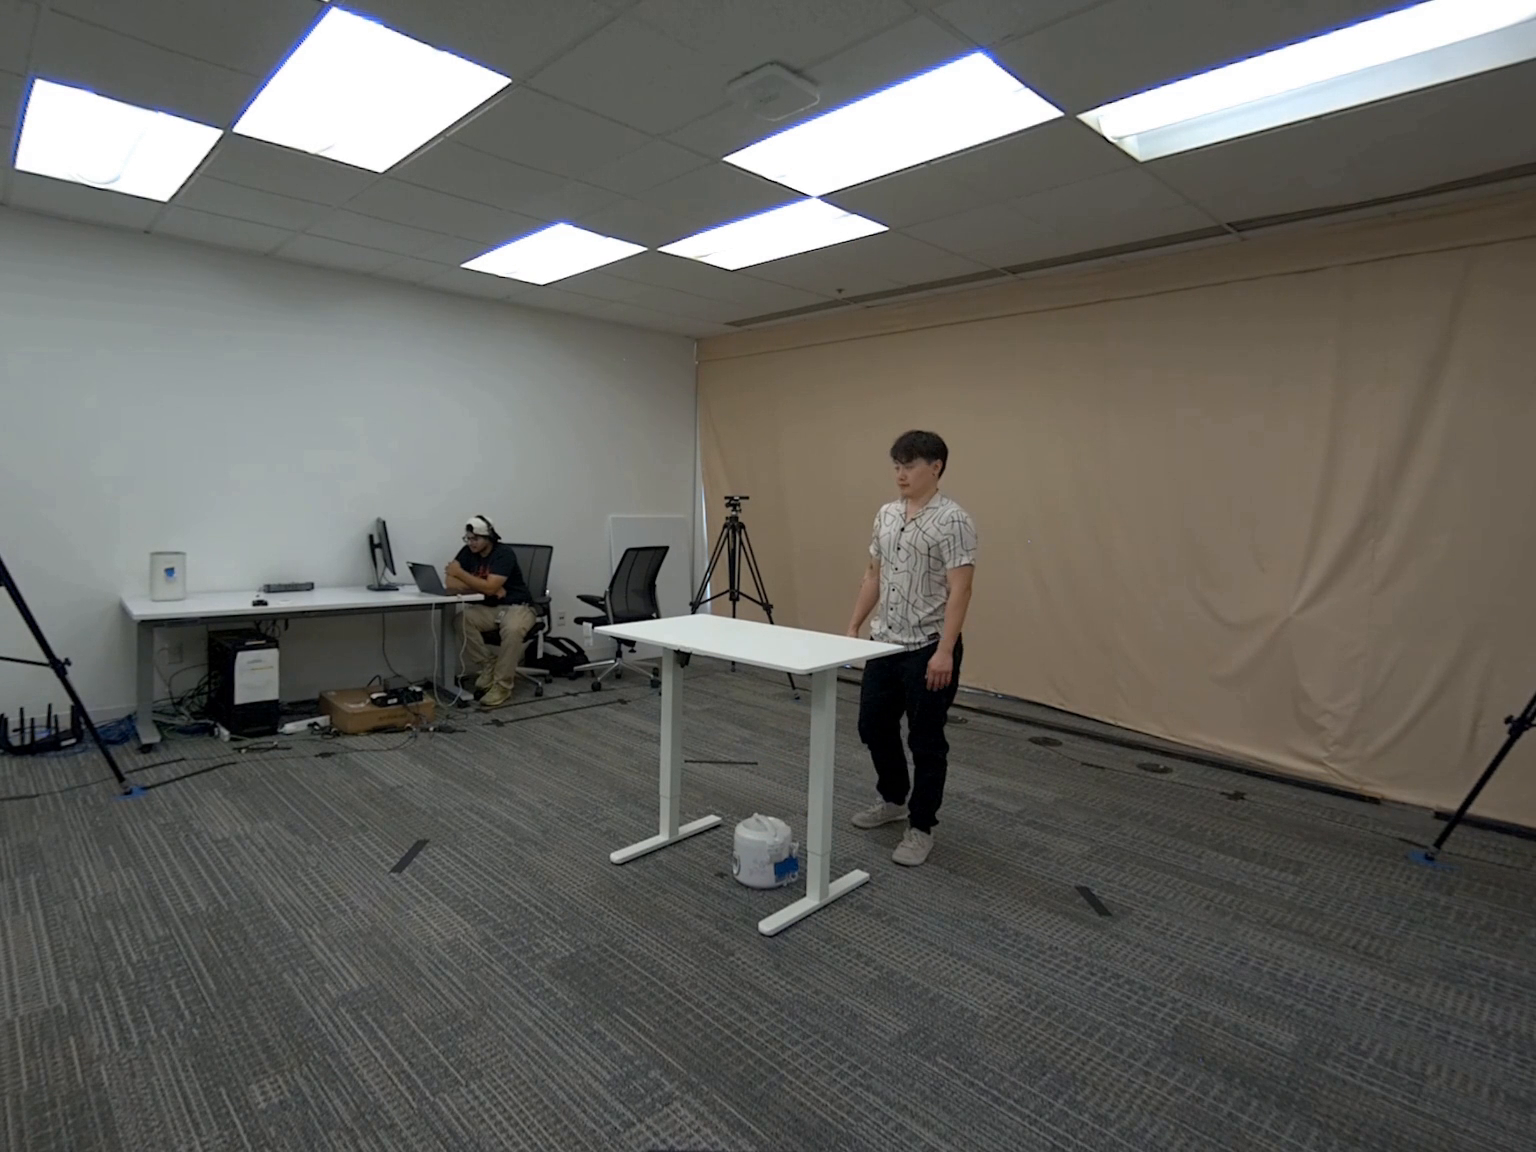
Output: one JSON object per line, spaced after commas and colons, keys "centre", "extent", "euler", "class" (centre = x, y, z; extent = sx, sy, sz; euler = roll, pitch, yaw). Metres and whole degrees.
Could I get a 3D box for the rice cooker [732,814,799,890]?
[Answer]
{"centre": [-0.028, 0.994, 3.066], "extent": [0.214, 0.232, 0.225], "euler": [0, 4, -24], "class": "rice cooker"}
